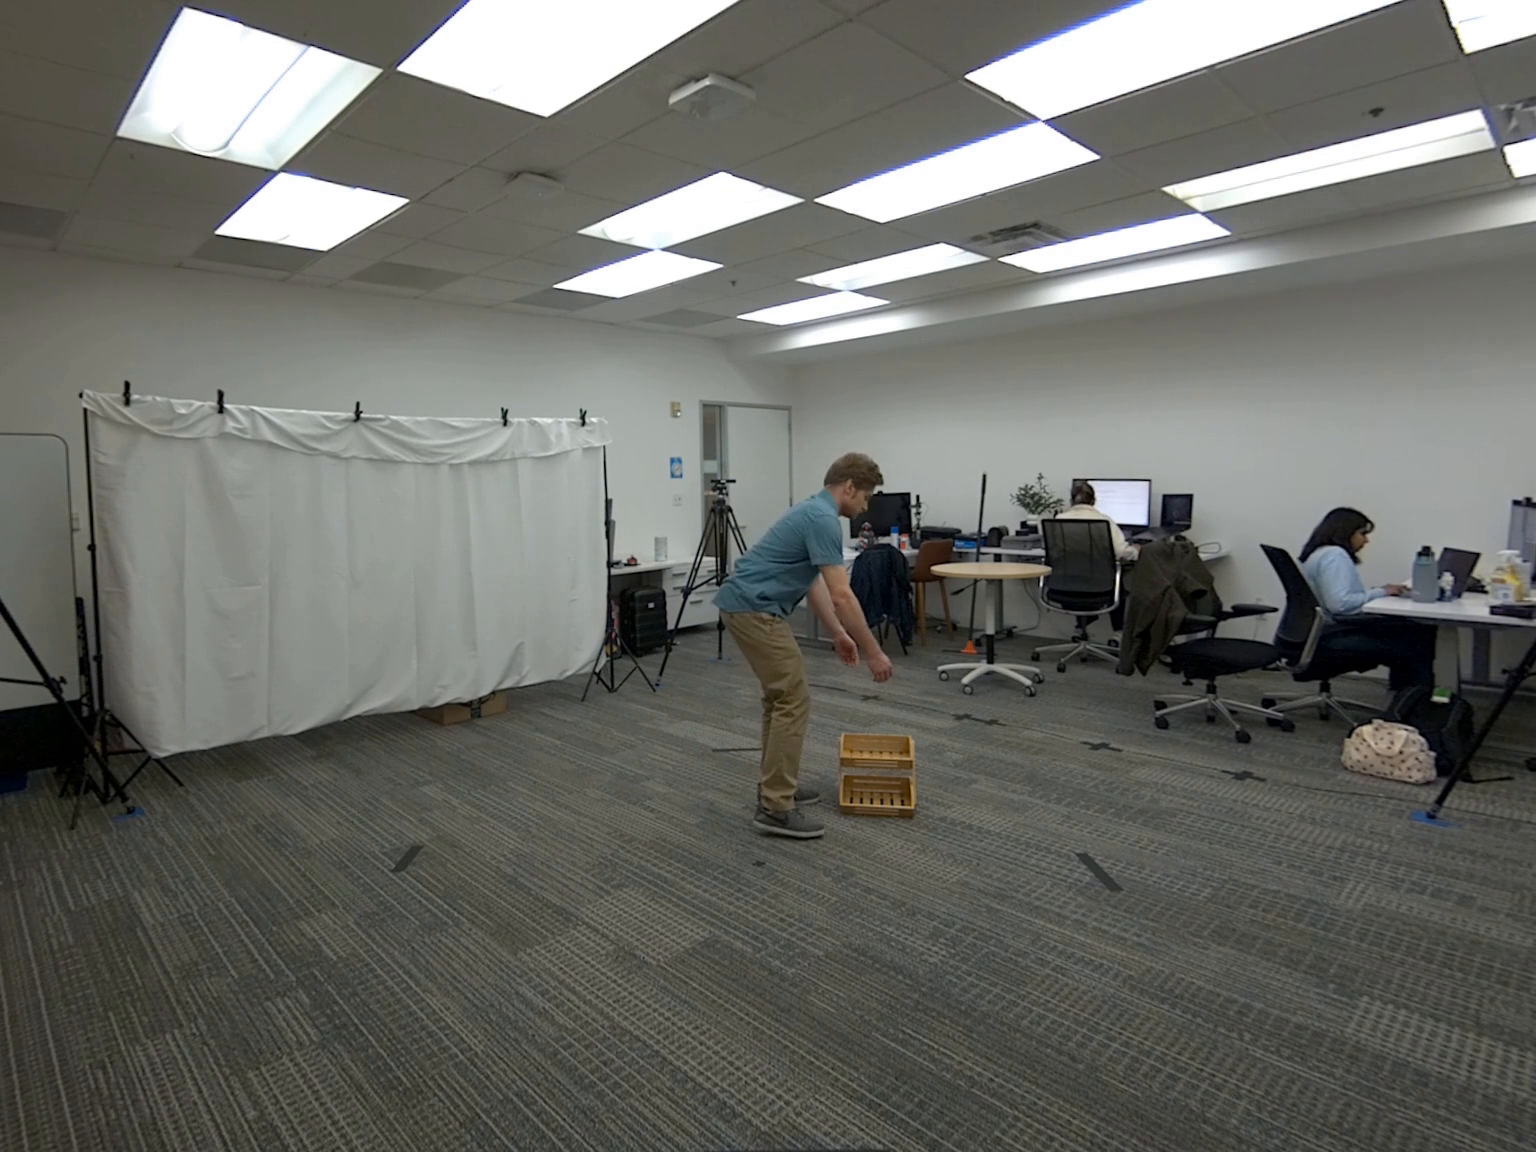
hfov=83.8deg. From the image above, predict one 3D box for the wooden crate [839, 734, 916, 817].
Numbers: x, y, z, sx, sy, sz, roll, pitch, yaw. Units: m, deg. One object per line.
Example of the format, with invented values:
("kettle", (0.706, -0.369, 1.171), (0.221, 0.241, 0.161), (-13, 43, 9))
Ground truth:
("wooden crate", (0.463, 0.841, 3.647), (0.327, 0.272, 0.300), (0, 4, 8))
